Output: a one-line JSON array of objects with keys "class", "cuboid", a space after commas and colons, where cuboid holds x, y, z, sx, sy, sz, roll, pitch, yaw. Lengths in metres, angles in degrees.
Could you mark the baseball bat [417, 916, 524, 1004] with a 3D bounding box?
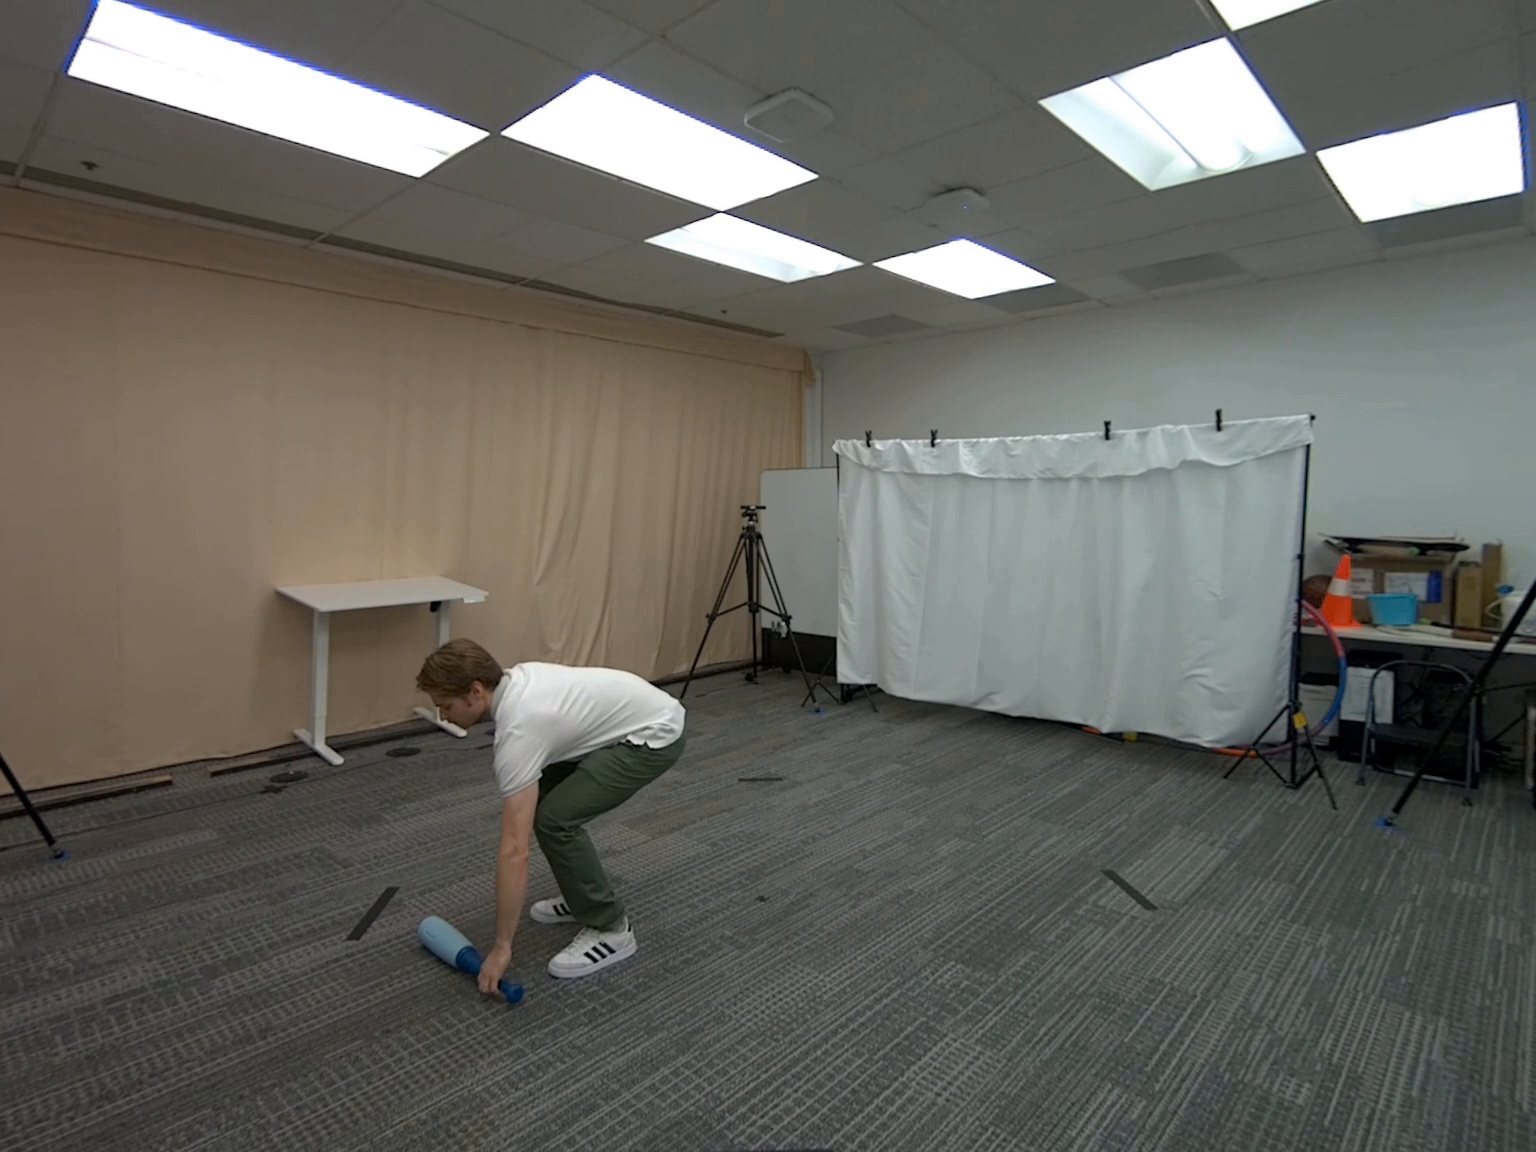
[{"class": "baseball bat", "cuboid": [-0.893, 1.148, 2.510, 0.561, 0.089, 0.086, 3, 5, 45]}]
